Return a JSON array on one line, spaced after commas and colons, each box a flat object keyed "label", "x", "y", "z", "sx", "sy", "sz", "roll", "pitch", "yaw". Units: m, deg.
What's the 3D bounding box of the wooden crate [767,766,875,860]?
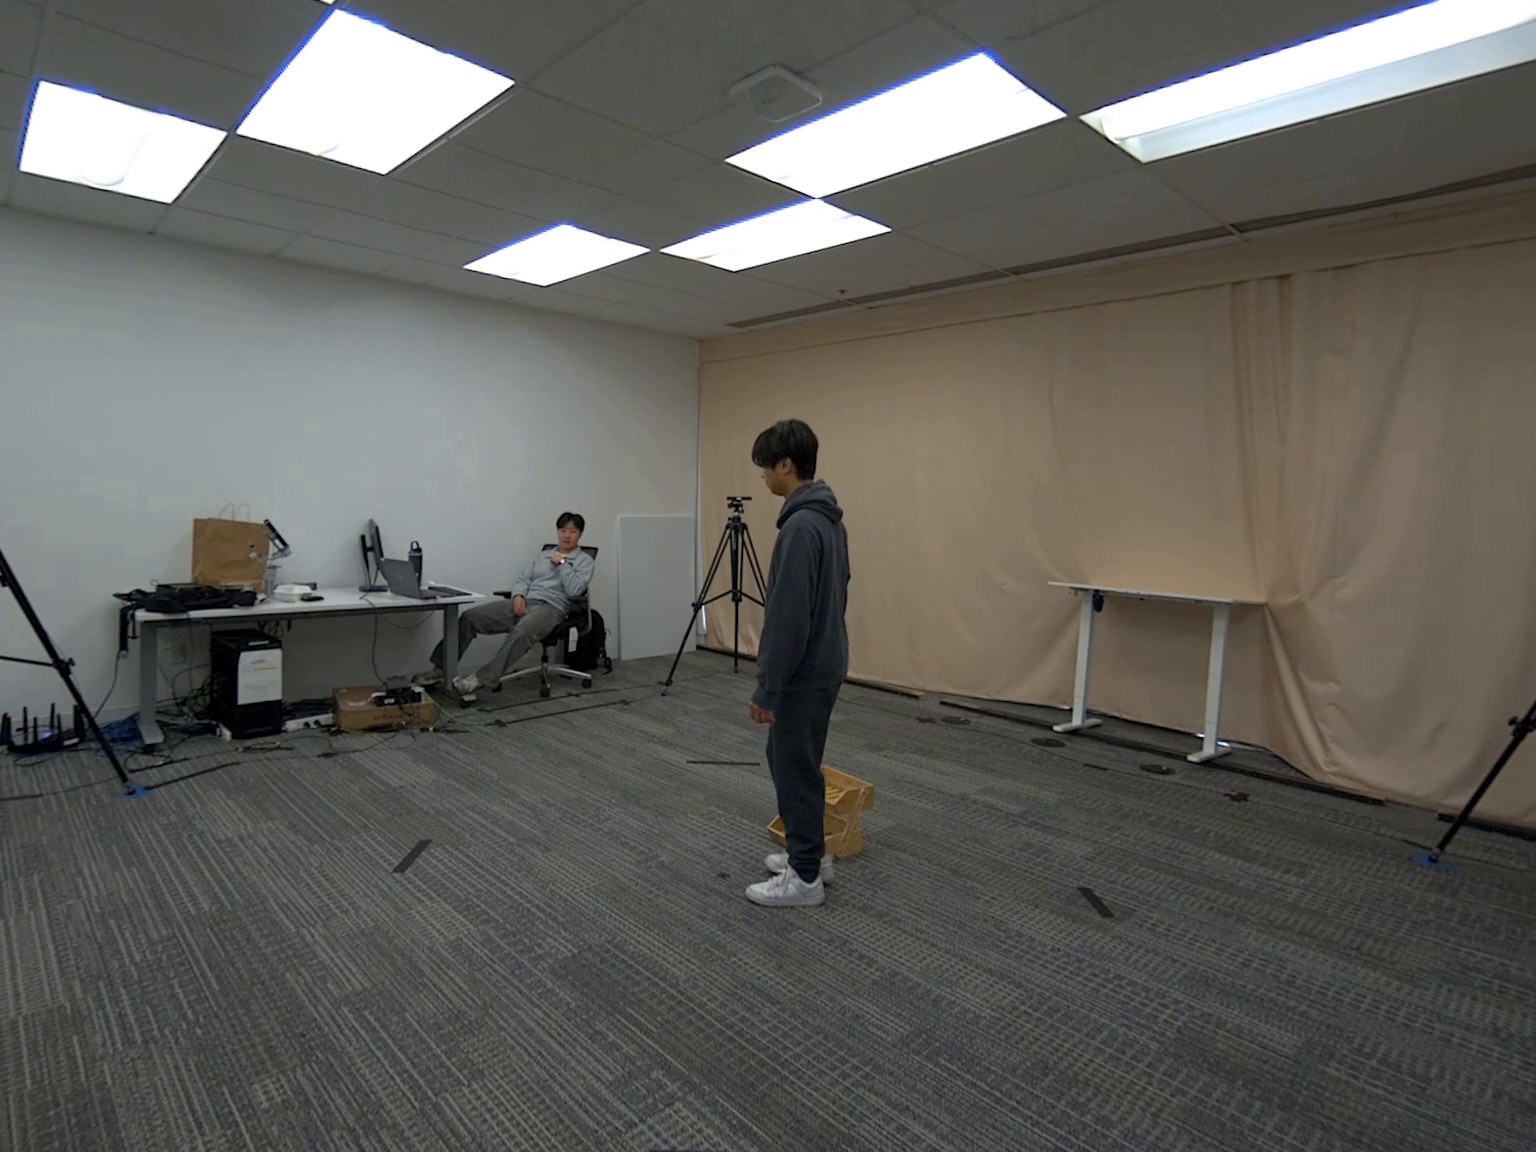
[{"label": "wooden crate", "x": 0.202, "y": 0.953, "z": 3.411, "sx": 0.295, "sy": 0.273, "sz": 0.332, "roll": 0, "pitch": 4, "yaw": -36}]
